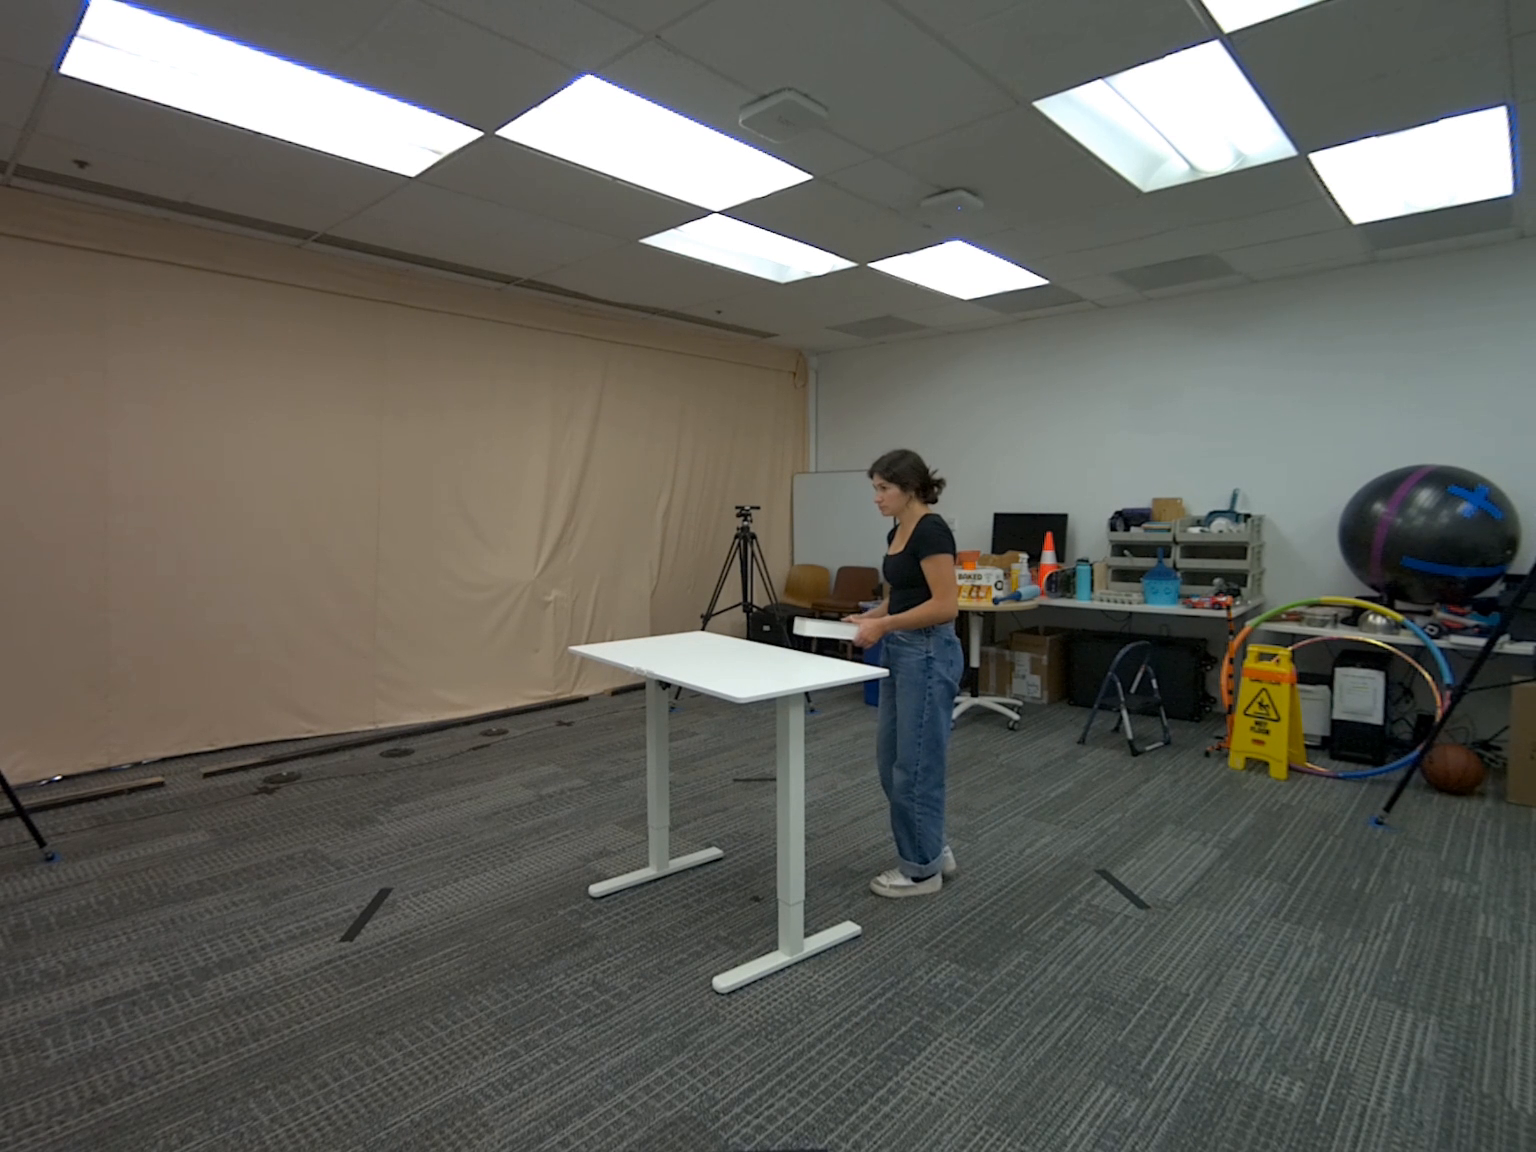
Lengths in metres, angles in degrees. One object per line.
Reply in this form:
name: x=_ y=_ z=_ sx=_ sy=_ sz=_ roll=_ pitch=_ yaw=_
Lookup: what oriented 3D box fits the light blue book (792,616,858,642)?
light blue book: x=0.252 y=0.203 z=3.037 sx=0.259 sy=0.059 sz=0.192 roll=6 pitch=-2 yaw=-6
